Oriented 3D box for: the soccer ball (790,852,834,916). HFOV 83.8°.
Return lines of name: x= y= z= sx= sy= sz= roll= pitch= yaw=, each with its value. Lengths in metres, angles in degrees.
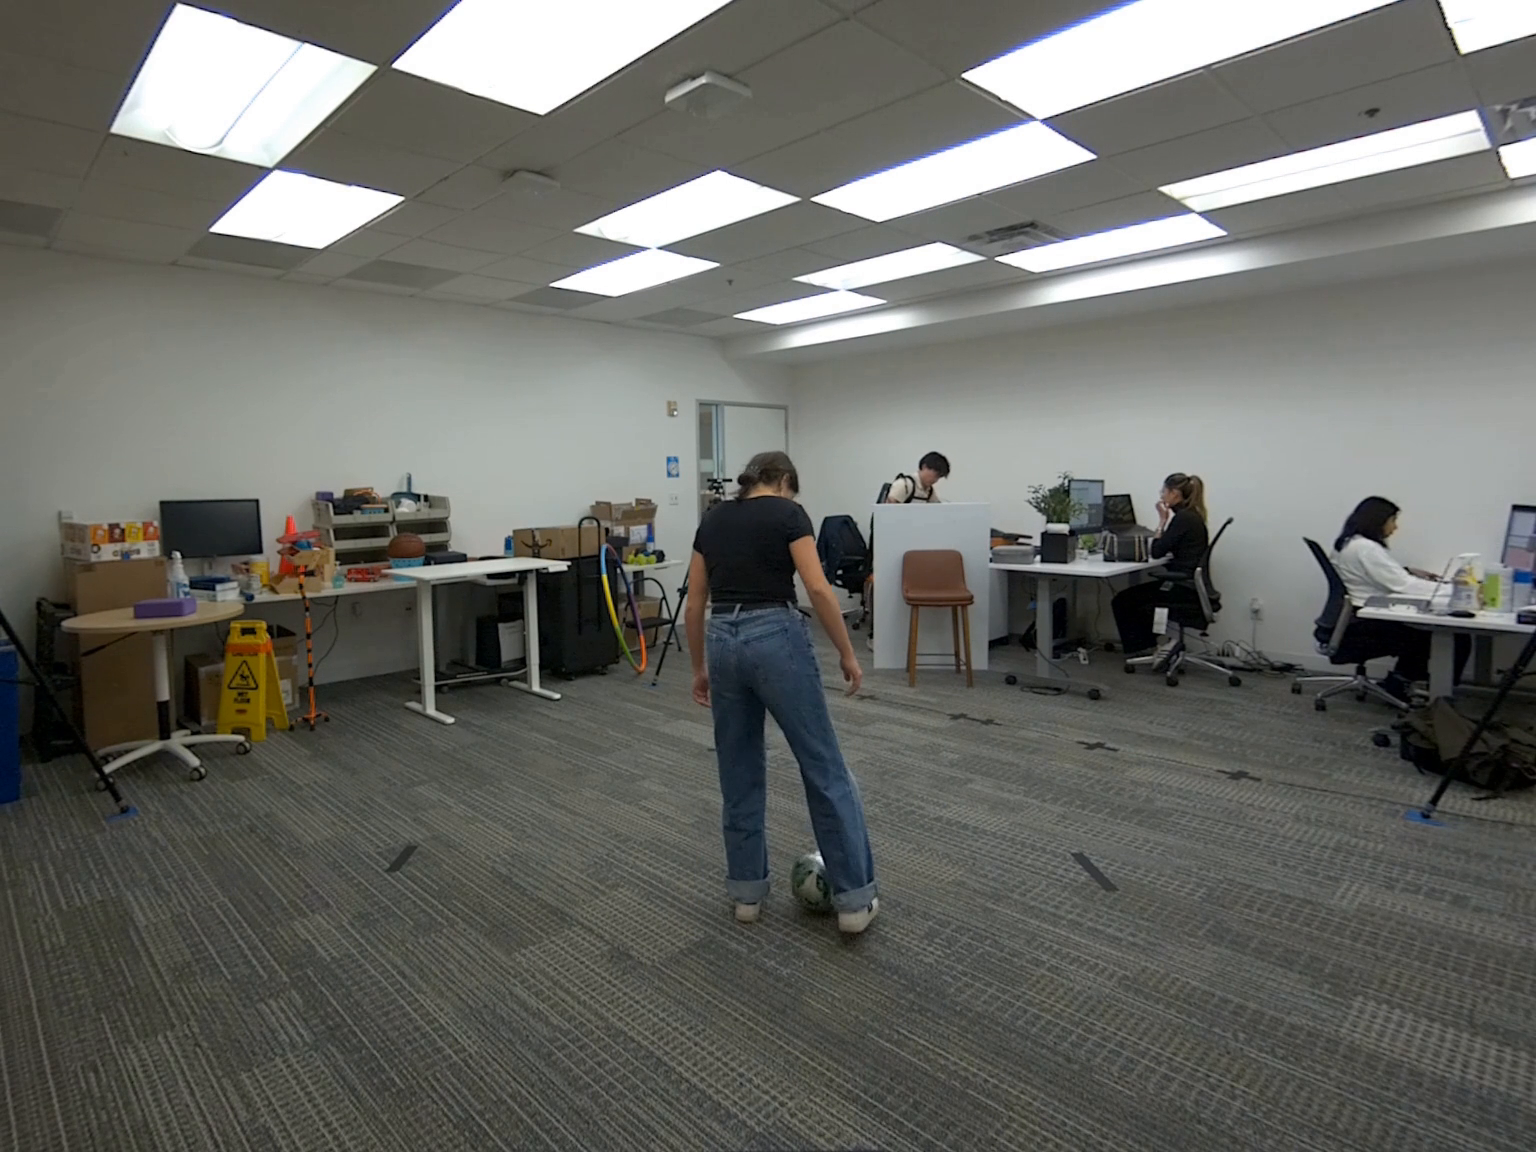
soccer ball: x=0.170 y=0.984 z=2.756 sx=0.187 sy=0.187 sz=0.188 roll=-1 pitch=5 yaw=-2
